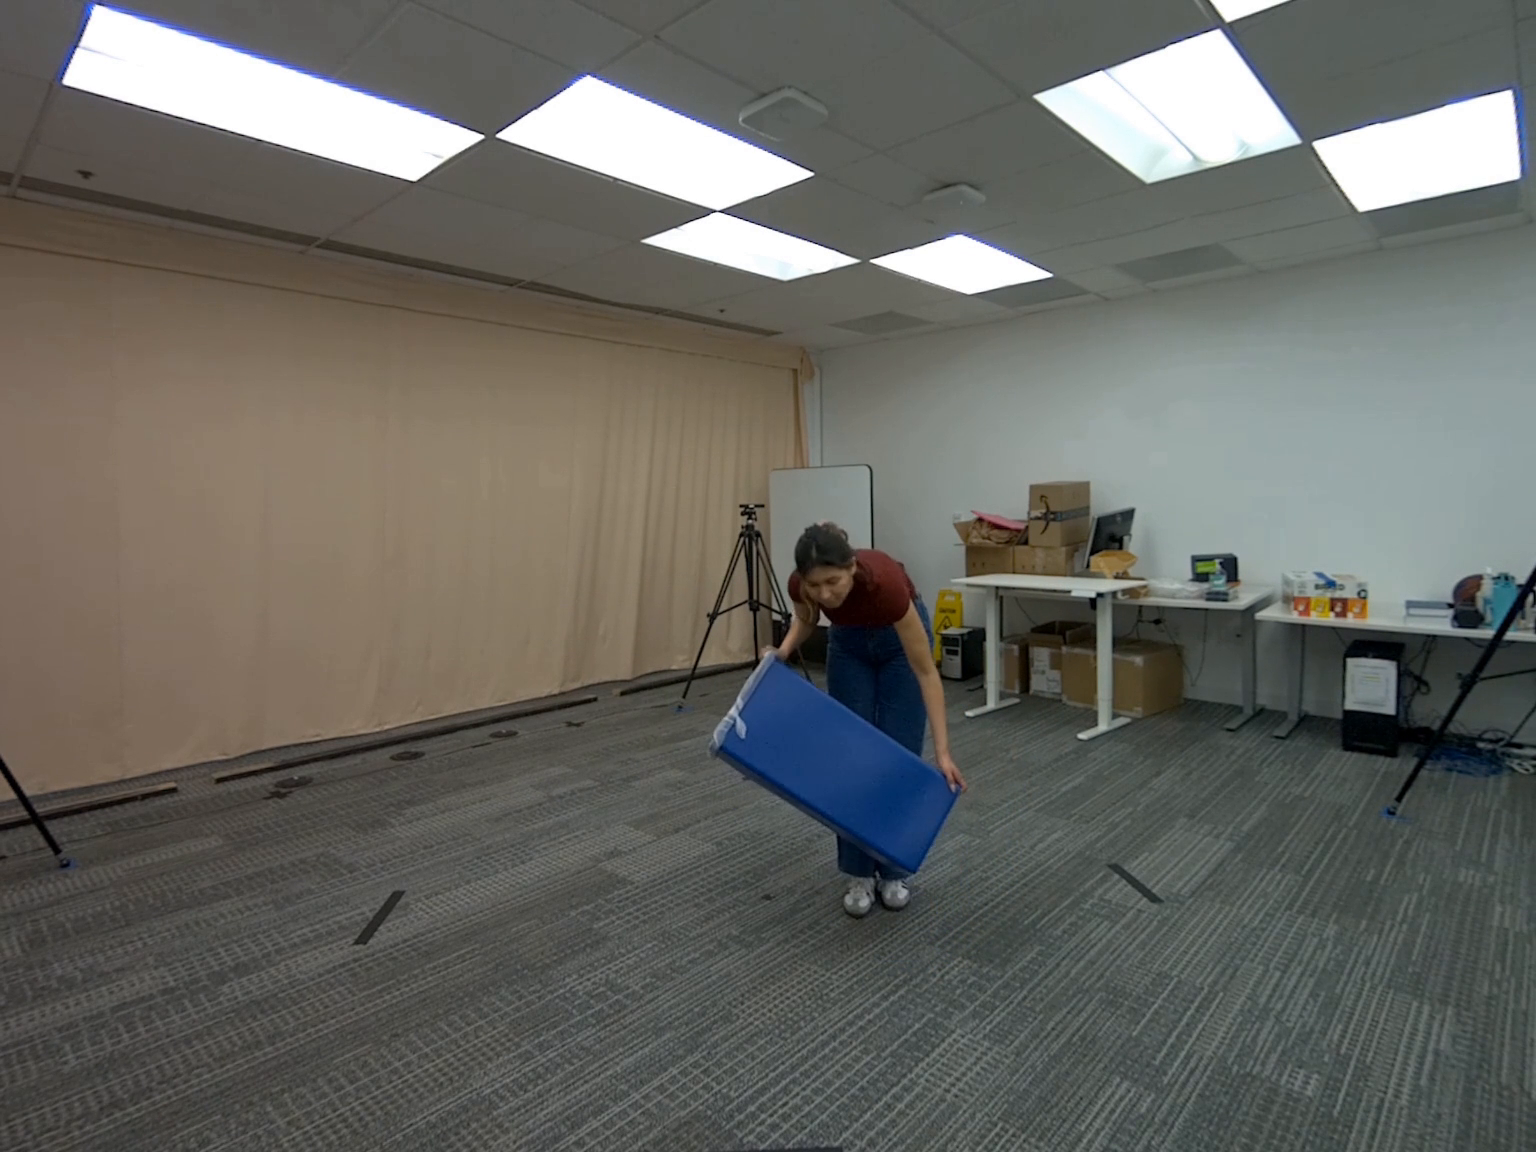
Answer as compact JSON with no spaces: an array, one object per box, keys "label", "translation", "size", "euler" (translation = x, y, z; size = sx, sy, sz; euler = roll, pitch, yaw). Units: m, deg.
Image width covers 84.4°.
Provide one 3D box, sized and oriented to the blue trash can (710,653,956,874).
[{"label":"blue trash can","translation":[0.191,0.616,2.725],"size":[0.722,0.377,0.370],"euler":[33,-16,9]}]
